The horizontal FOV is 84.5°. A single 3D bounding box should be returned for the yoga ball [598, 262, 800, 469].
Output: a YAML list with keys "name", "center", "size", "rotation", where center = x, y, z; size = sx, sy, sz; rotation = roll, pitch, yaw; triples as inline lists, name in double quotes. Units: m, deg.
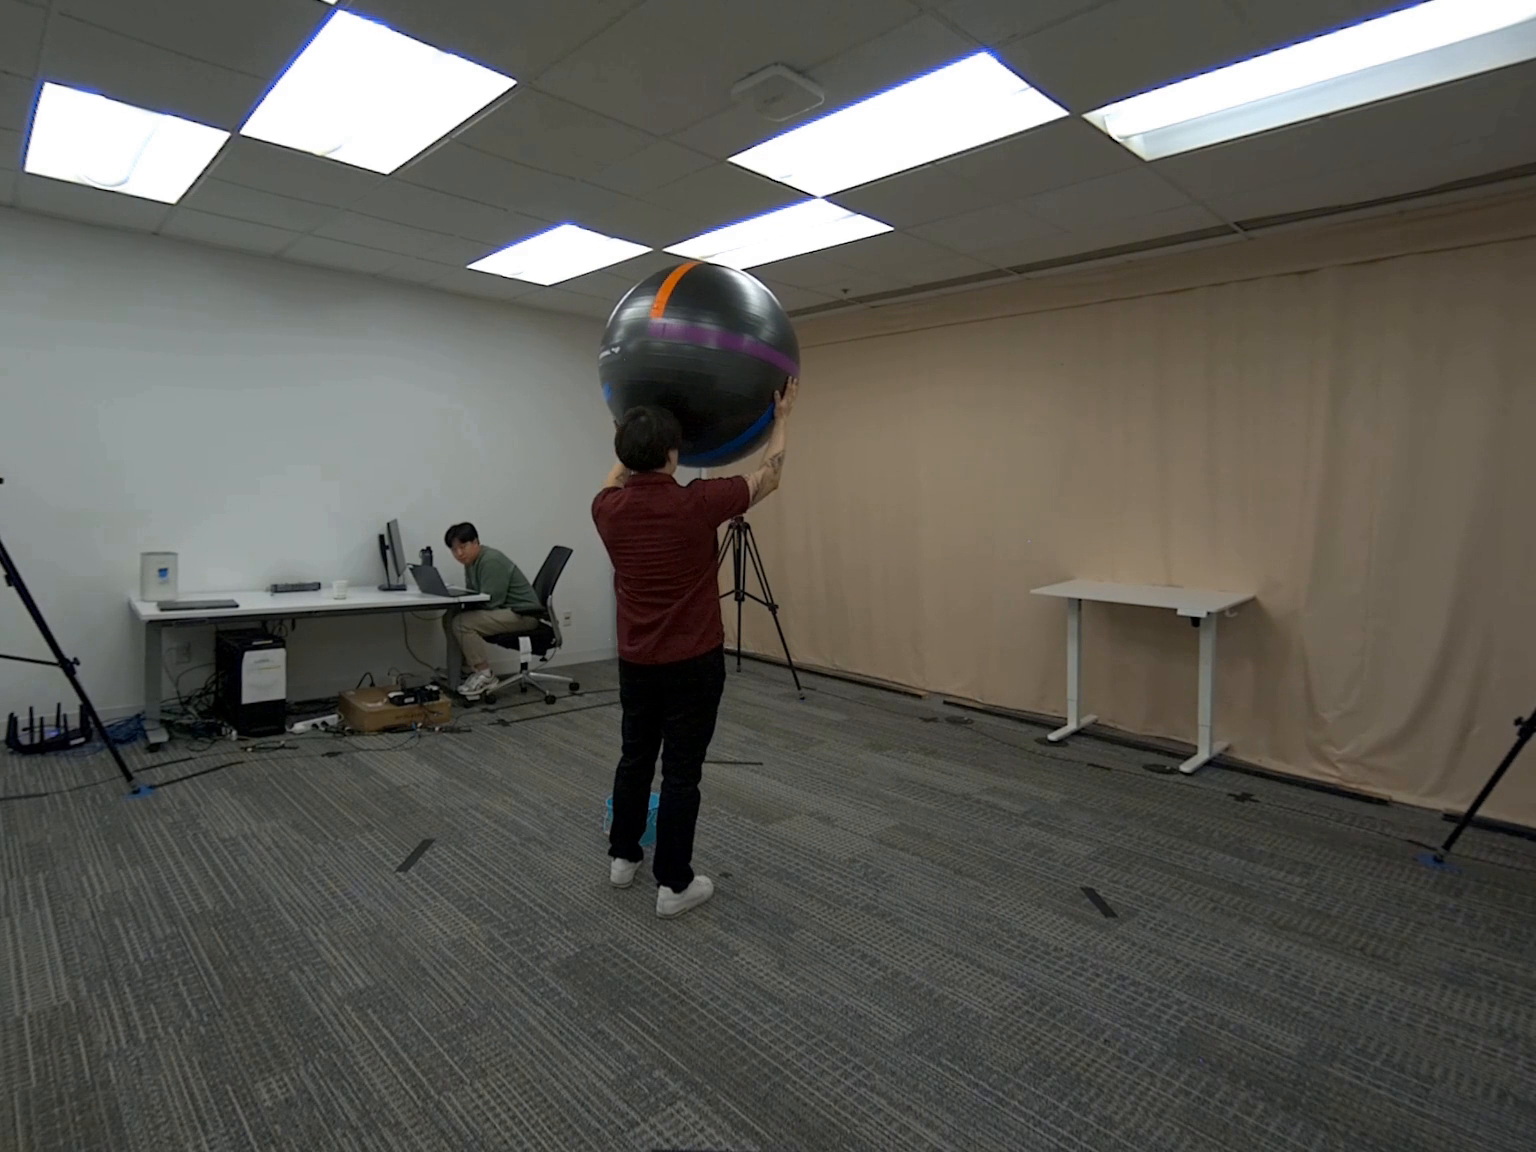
- name: "yoga ball"
  center: [-0.269, -0.788, 3.184]
  size: [0.757, 0.756, 0.761]
  rotation: [1, 4, -1]
